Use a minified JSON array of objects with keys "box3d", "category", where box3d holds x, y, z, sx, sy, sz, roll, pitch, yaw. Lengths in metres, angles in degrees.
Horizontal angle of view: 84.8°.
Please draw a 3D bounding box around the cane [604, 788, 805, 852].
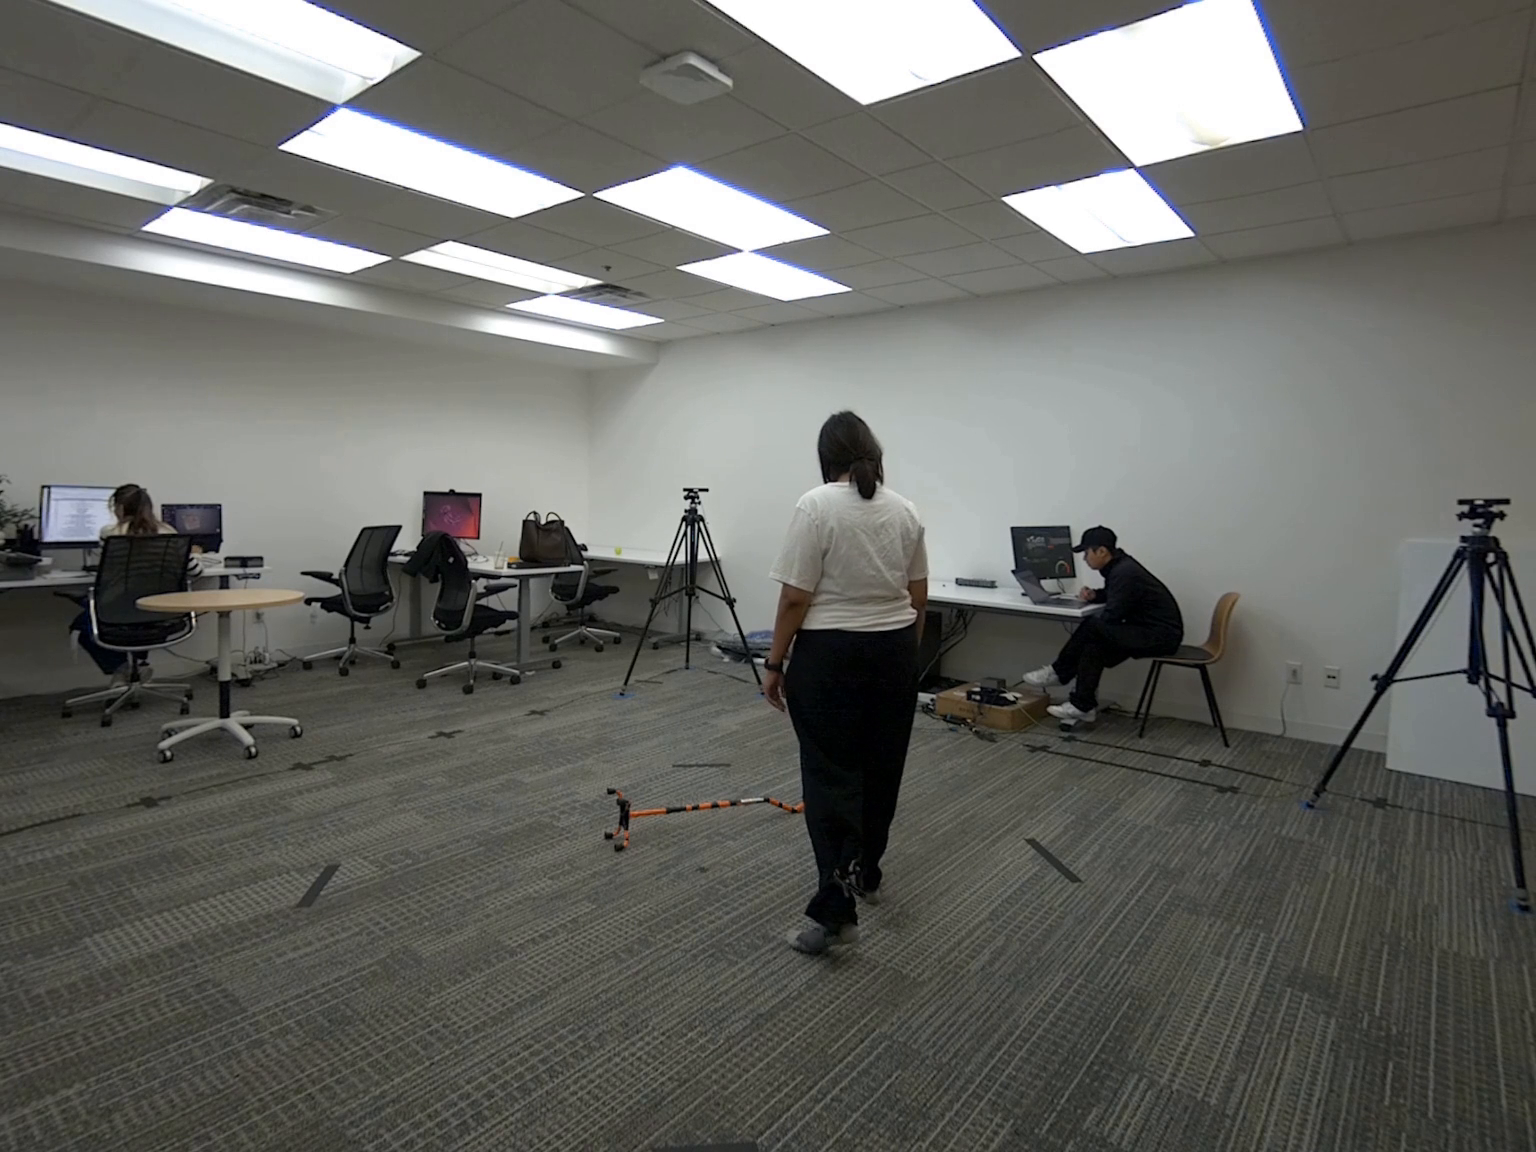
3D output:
[{"box3d":[-0.222,0.940,3.490,0.885,0.206,0.155,1,1,-26],"category":"cane"}]
